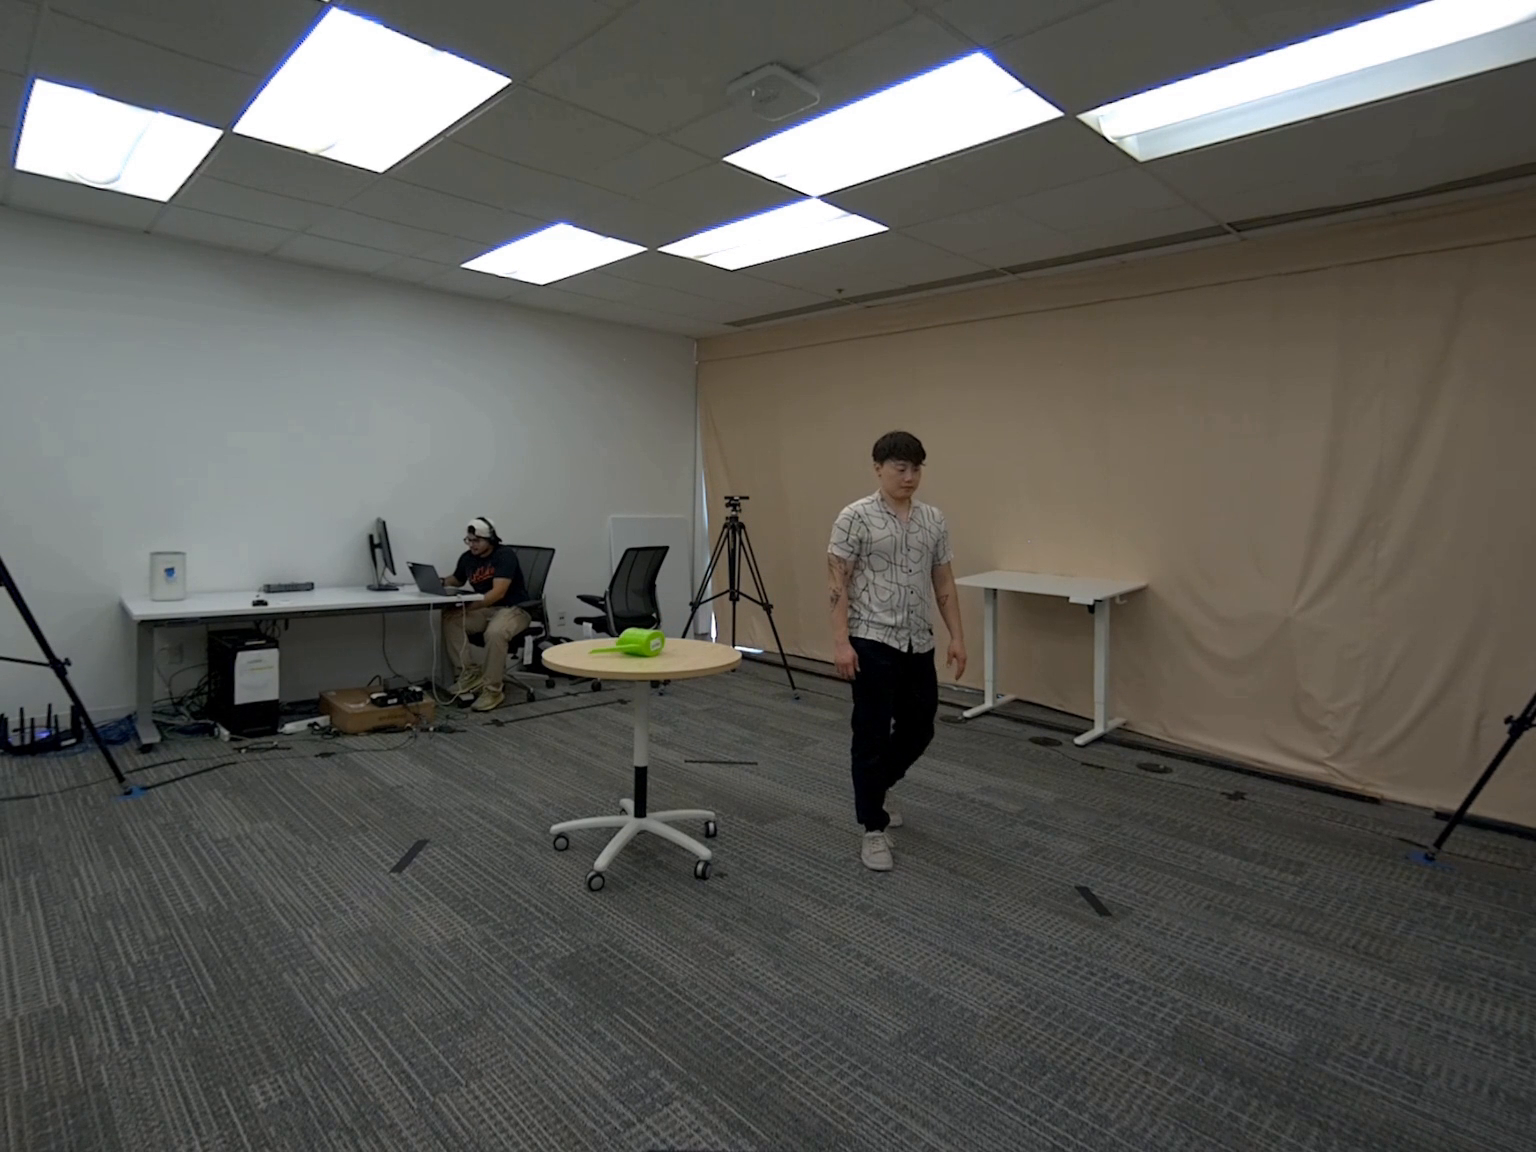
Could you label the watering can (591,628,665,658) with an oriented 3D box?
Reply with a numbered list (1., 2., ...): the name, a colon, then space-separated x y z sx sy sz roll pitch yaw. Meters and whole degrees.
1. watering can: -0.531 0.269 3.200 0.181 0.096 0.277 3 26 33
